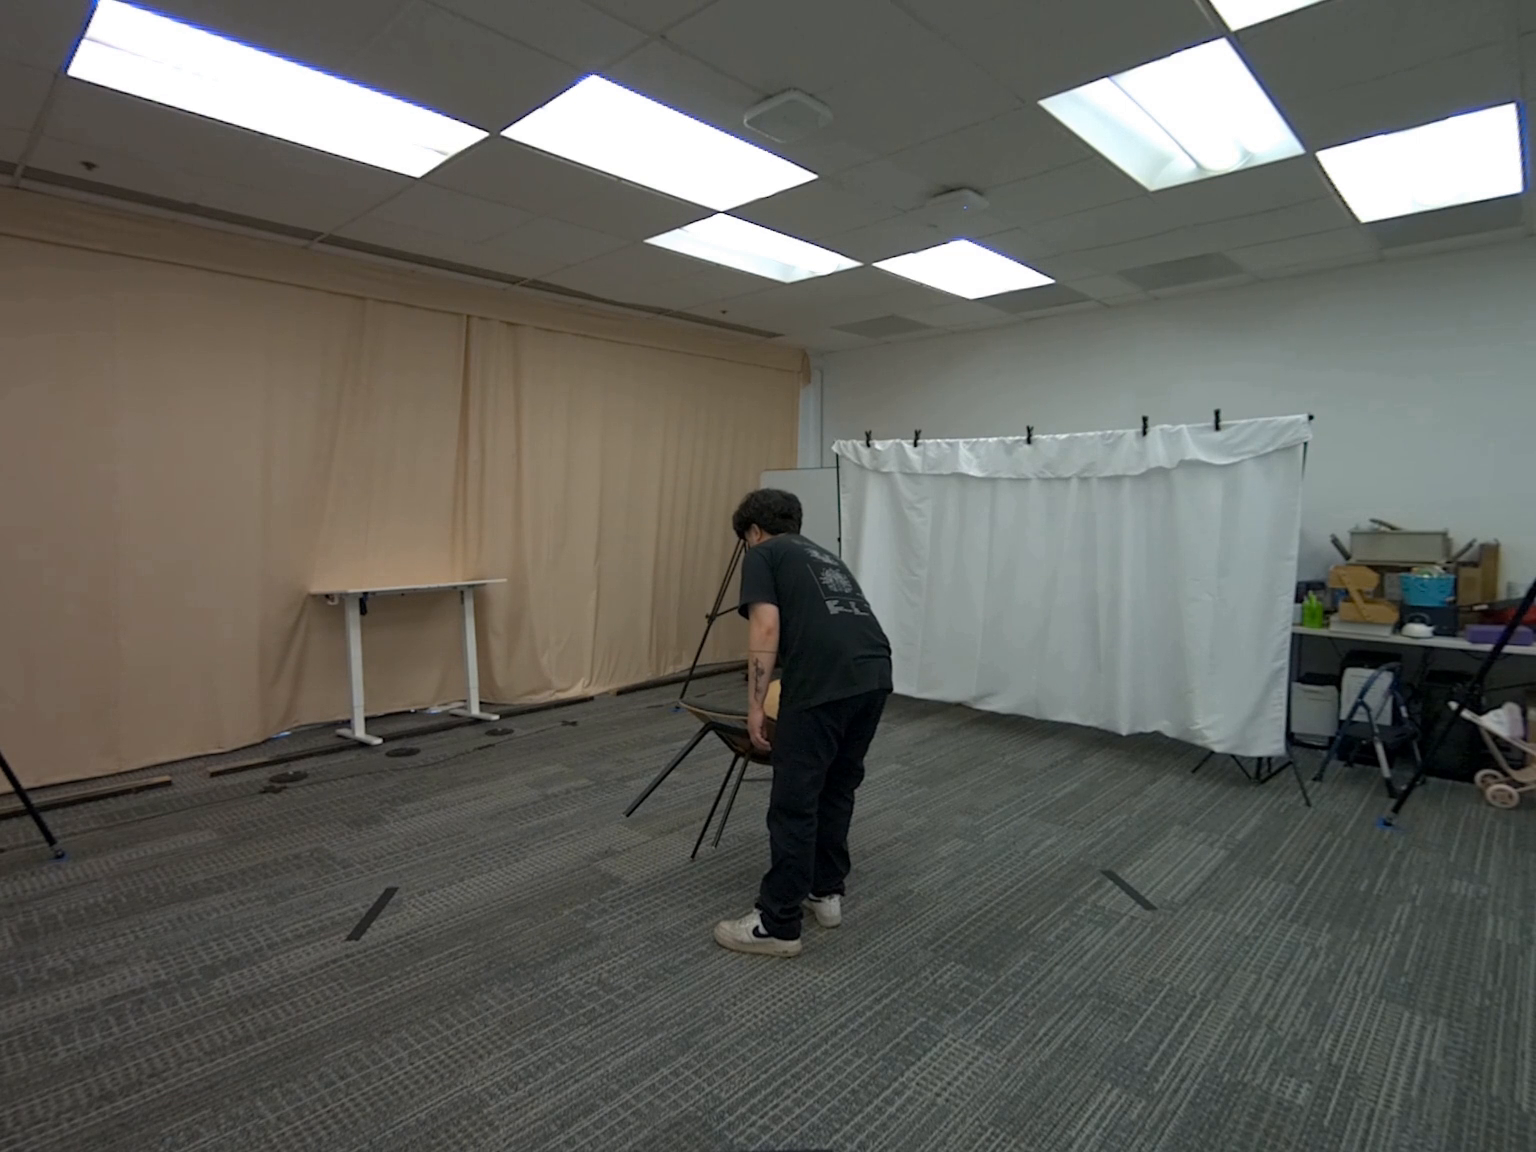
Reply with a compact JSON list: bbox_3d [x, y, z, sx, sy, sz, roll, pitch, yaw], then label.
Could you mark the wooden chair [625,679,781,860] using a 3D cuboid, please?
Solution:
[{"bbox_3d":[-0.082,0.649,3.202,0.494,0.877,0.506,3,-37,41],"label":"wooden chair"}]
